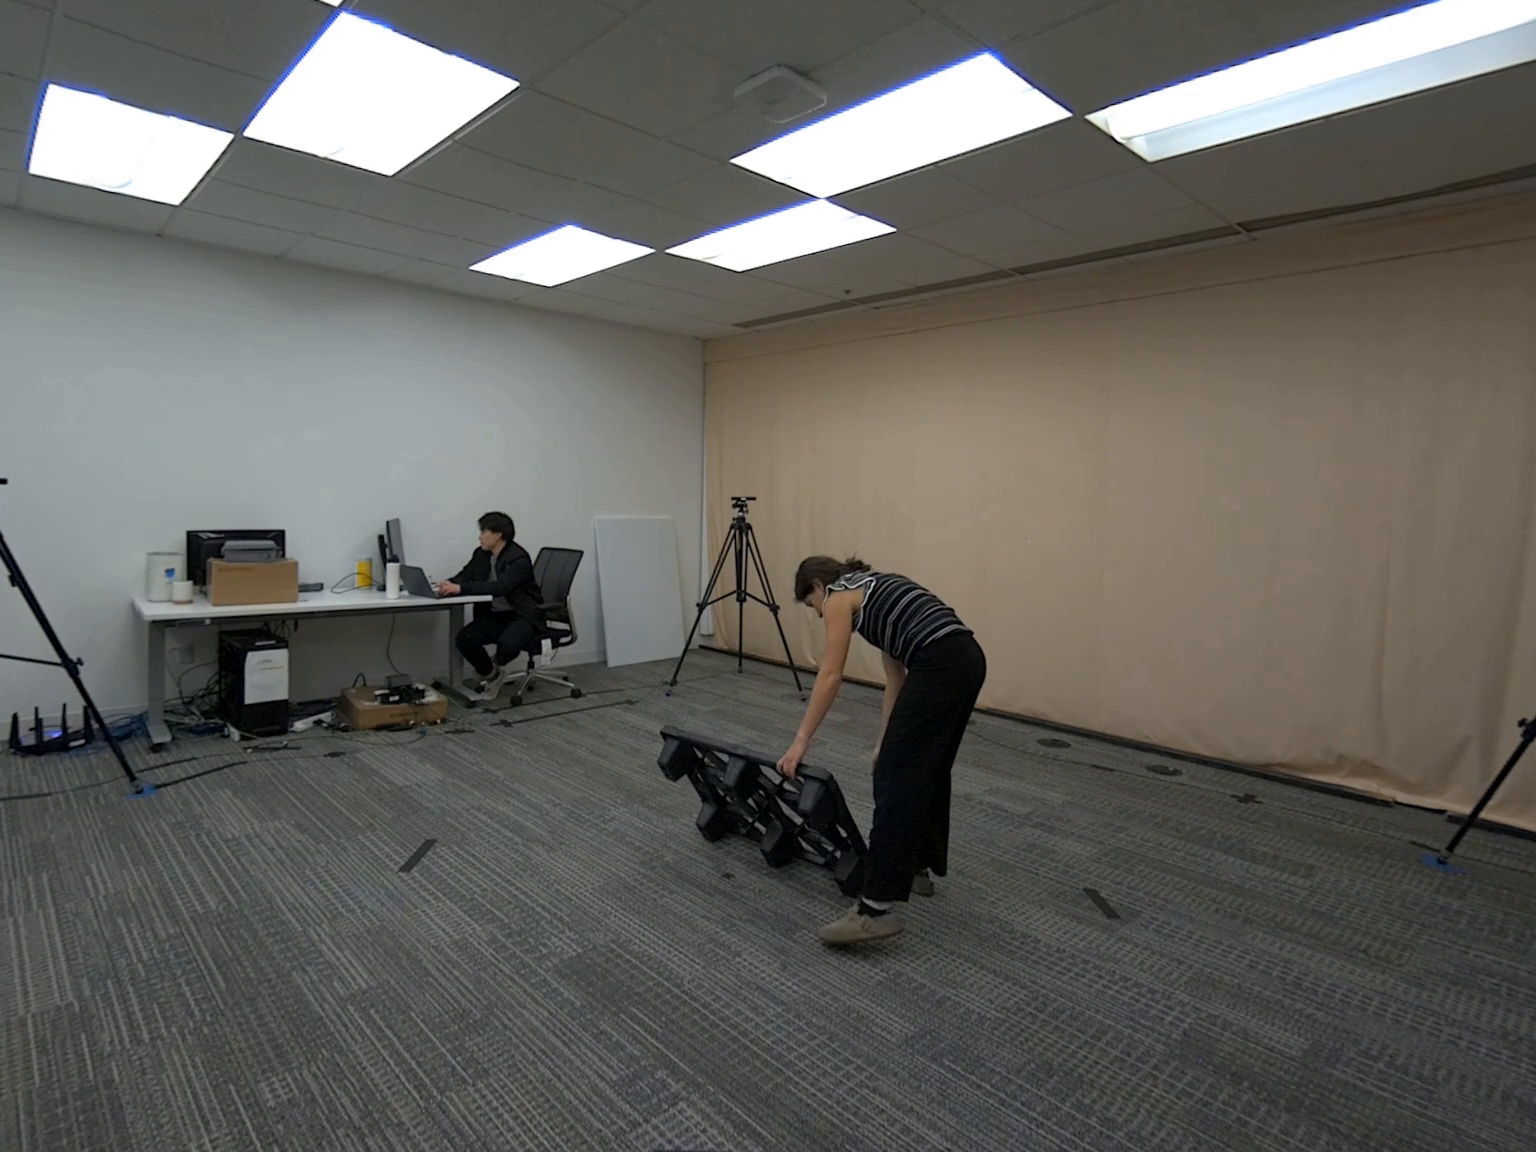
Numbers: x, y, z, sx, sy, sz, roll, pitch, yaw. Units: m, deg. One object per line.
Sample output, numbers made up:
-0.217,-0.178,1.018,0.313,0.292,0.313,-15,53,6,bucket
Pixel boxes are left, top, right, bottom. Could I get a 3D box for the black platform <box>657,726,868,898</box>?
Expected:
-0.038,0.877,3.111,0.826,0.590,0.143,5,41,42,black platform
